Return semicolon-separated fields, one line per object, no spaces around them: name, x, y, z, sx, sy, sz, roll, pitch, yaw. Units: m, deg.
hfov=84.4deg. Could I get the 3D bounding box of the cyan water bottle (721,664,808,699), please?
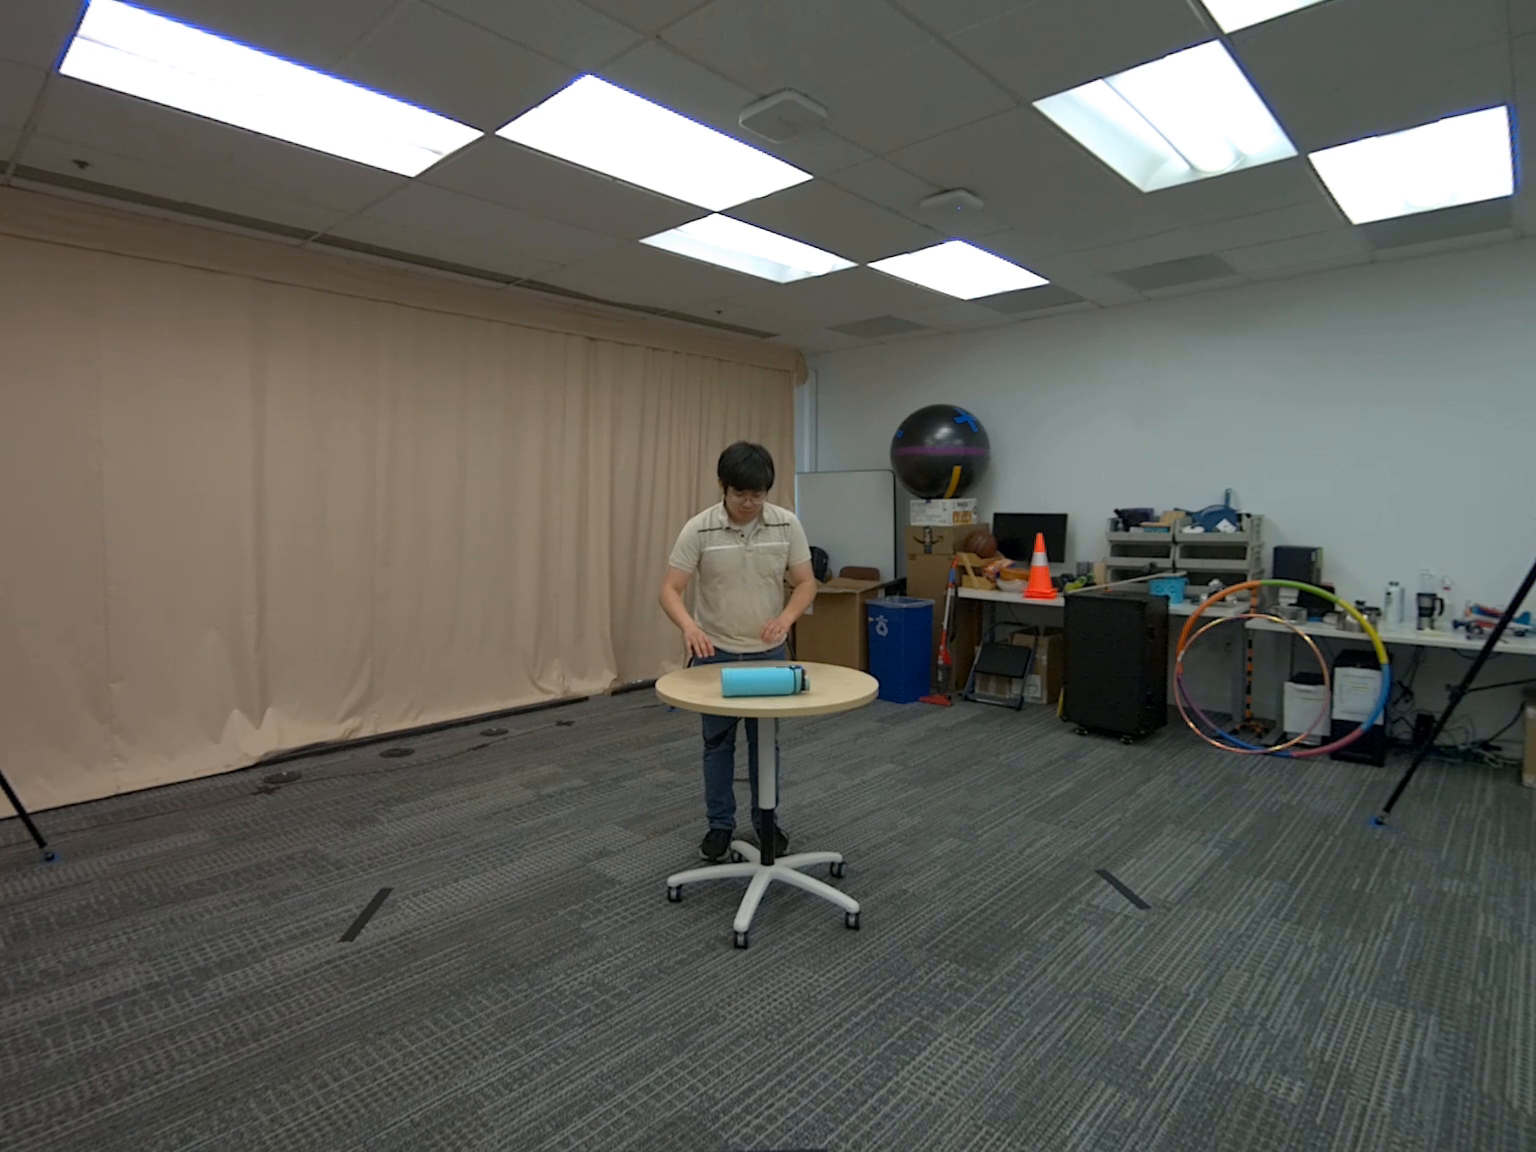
cyan water bottle;-0.005;0.338;2.708;0.282;0.092;0.093;-1;4;-4
